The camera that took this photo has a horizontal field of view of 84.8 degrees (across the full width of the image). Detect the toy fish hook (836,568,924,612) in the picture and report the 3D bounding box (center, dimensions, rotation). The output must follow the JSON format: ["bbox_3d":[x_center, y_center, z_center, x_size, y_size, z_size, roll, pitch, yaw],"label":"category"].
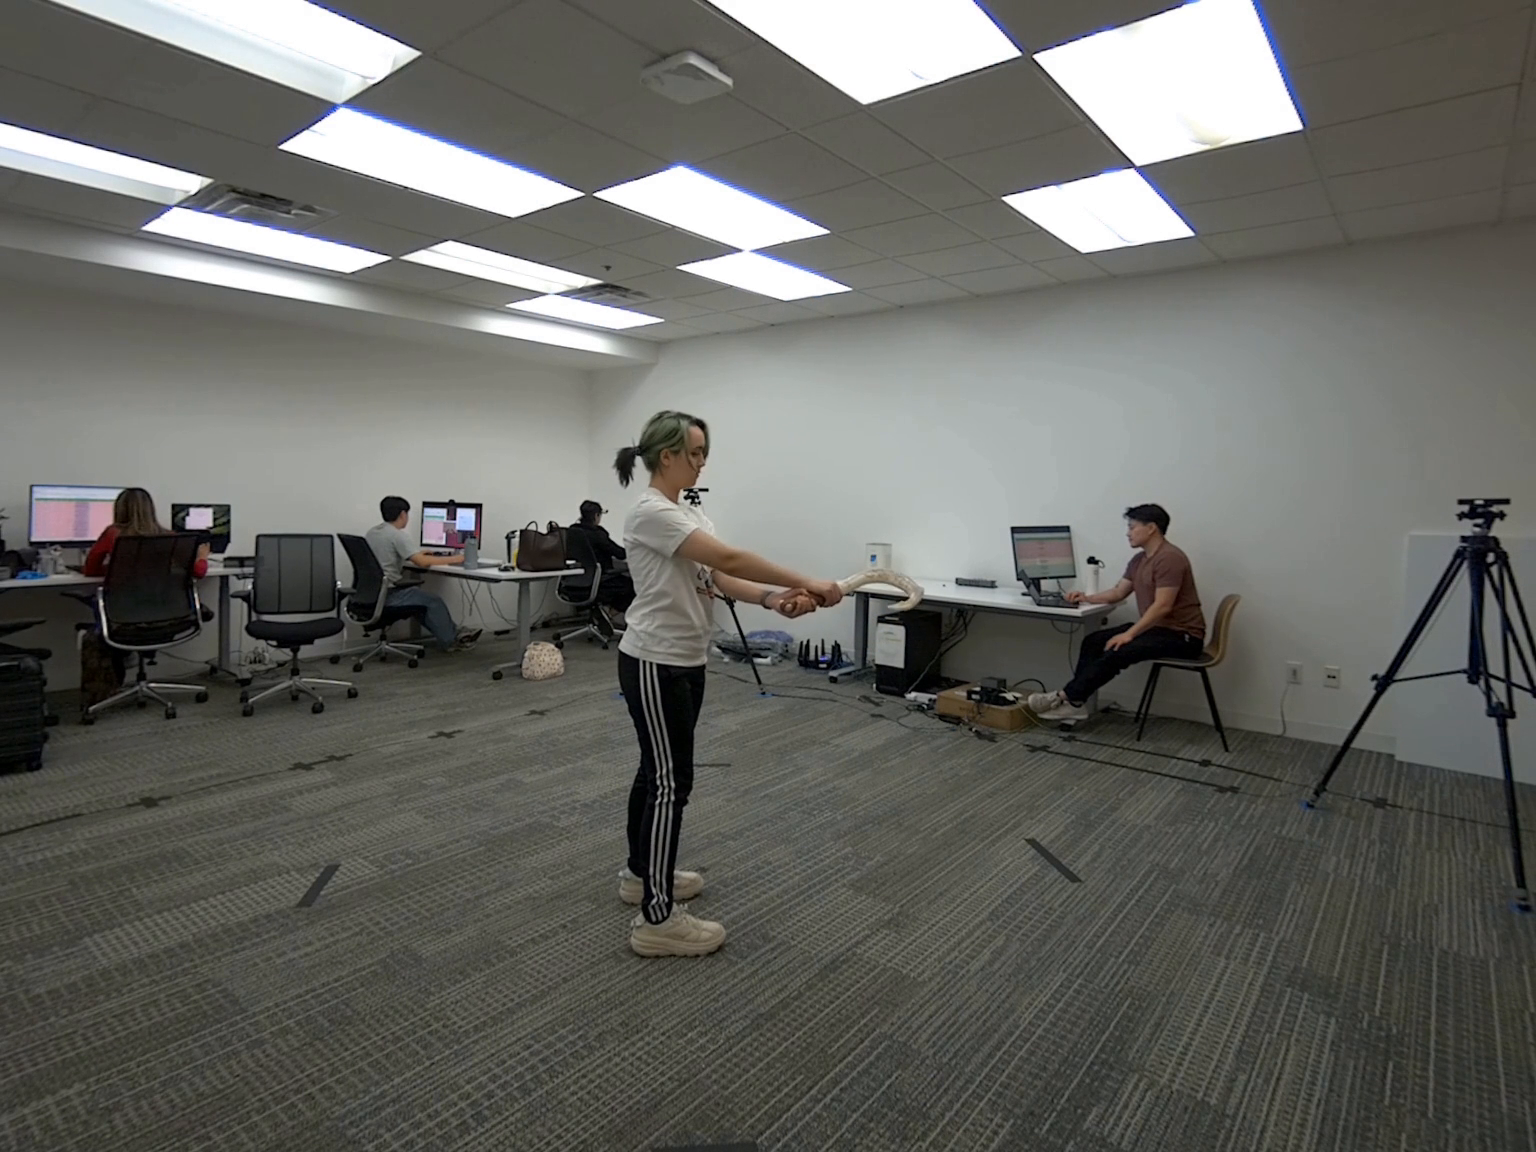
[{"bbox_3d":[0.253,0.068,2.583,0.495,0.047,0.234,-13,32,-31],"label":"toy fish hook"}]
